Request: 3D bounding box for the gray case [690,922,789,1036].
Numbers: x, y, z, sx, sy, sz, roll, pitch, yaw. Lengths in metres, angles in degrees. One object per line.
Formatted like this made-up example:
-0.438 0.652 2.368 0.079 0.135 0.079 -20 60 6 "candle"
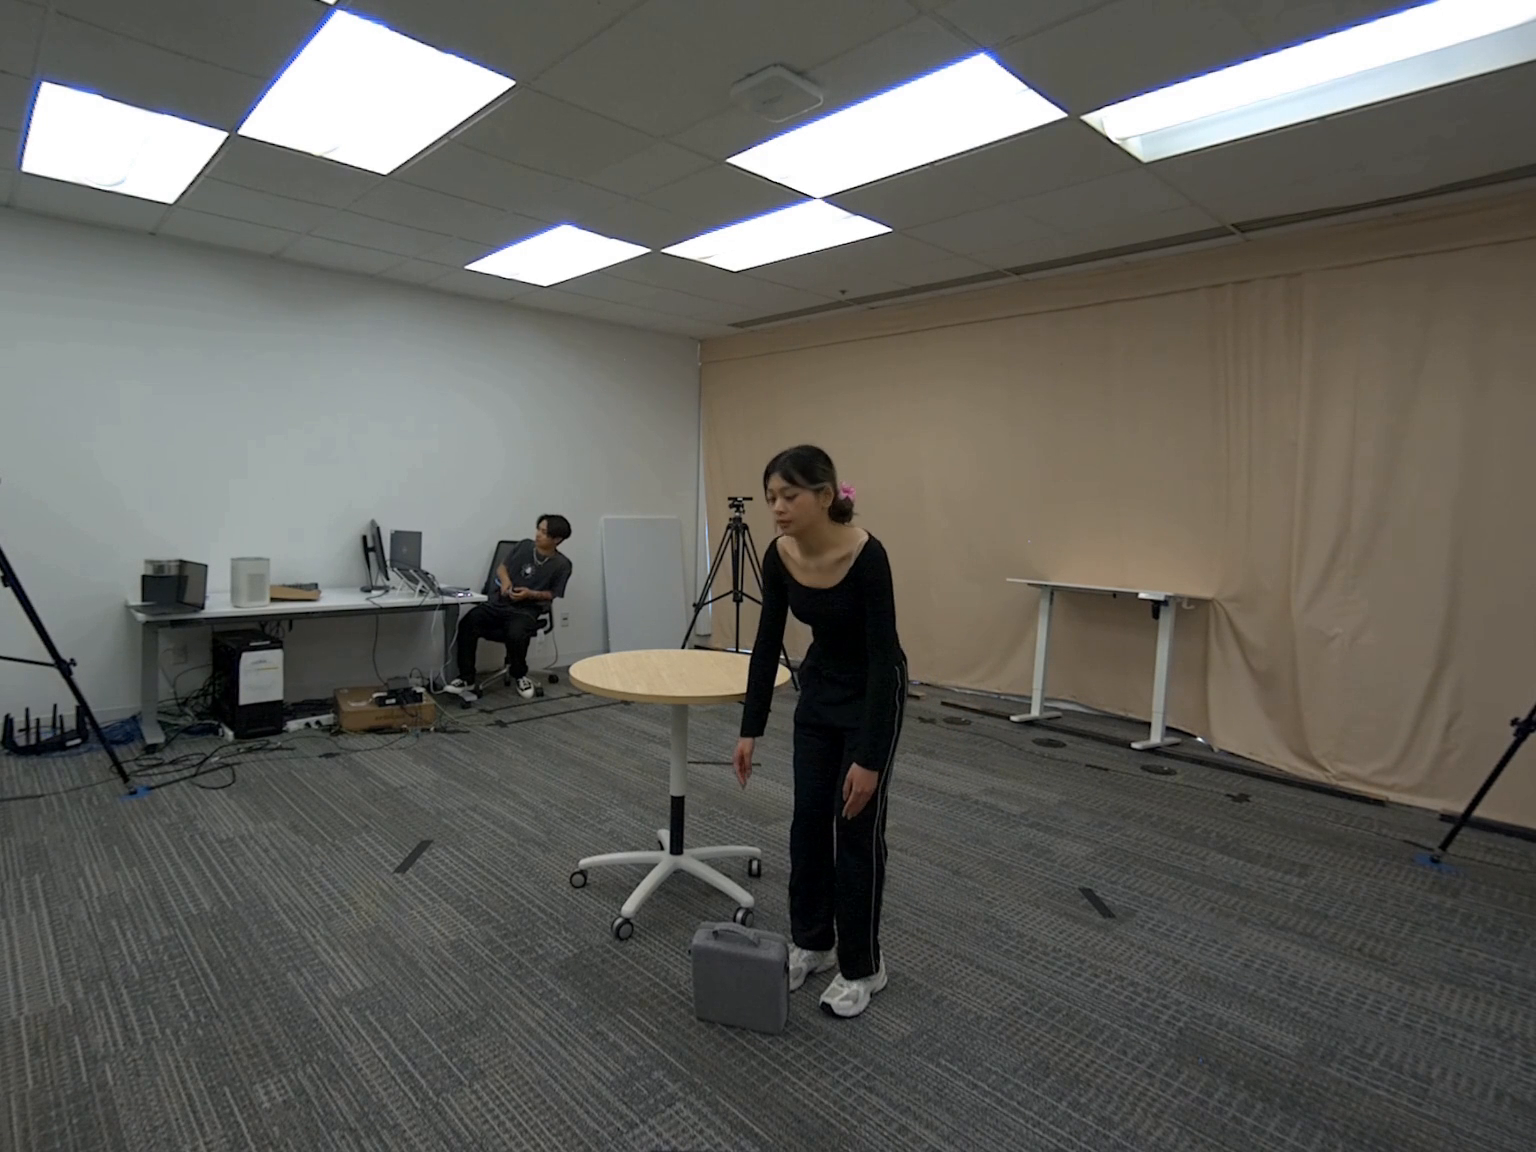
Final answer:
-0.075 1.060 2.226 0.260 0.258 0.104 2 14 16 "gray case"
